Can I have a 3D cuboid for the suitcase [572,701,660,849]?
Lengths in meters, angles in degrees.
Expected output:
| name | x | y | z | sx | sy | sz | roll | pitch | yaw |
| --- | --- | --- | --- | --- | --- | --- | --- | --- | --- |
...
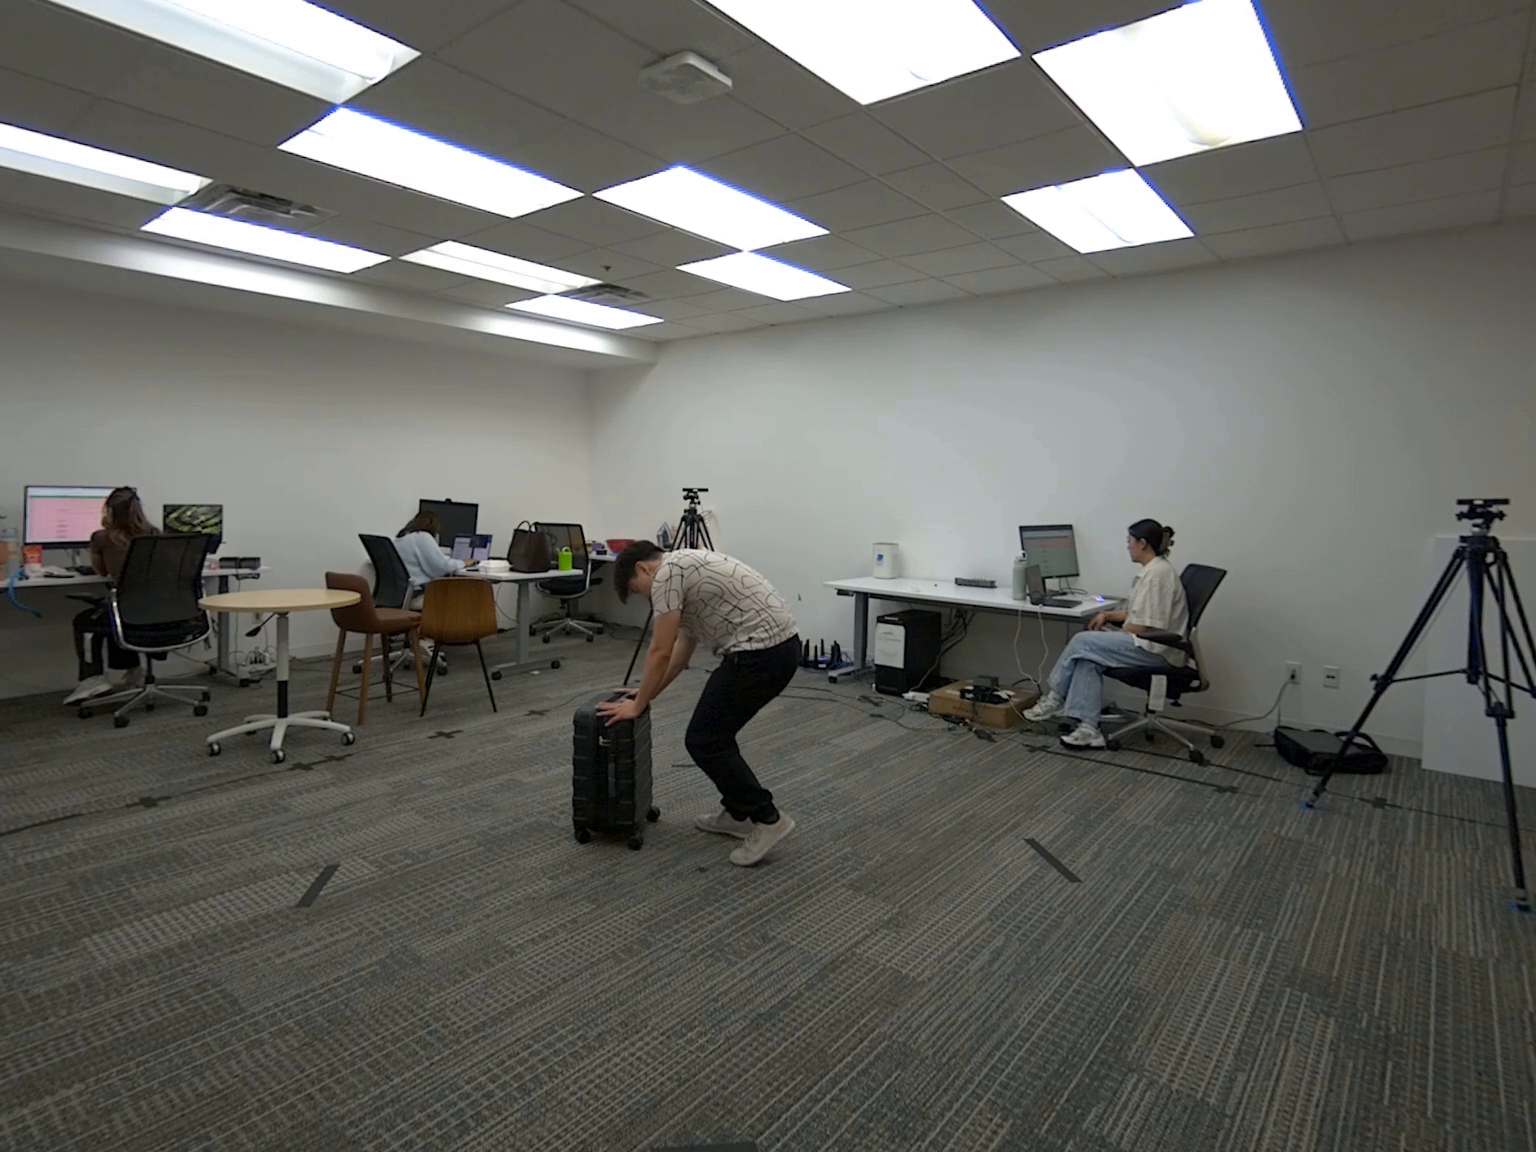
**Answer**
| name | x | y | z | sx | sy | sz | roll | pitch | yaw |
| --- | --- | --- | --- | --- | --- | --- | --- | --- | --- |
| suitcase | -0.634 | 0.758 | 3.436 | 0.251 | 0.548 | 0.372 | 0 | 3 | 9 |
